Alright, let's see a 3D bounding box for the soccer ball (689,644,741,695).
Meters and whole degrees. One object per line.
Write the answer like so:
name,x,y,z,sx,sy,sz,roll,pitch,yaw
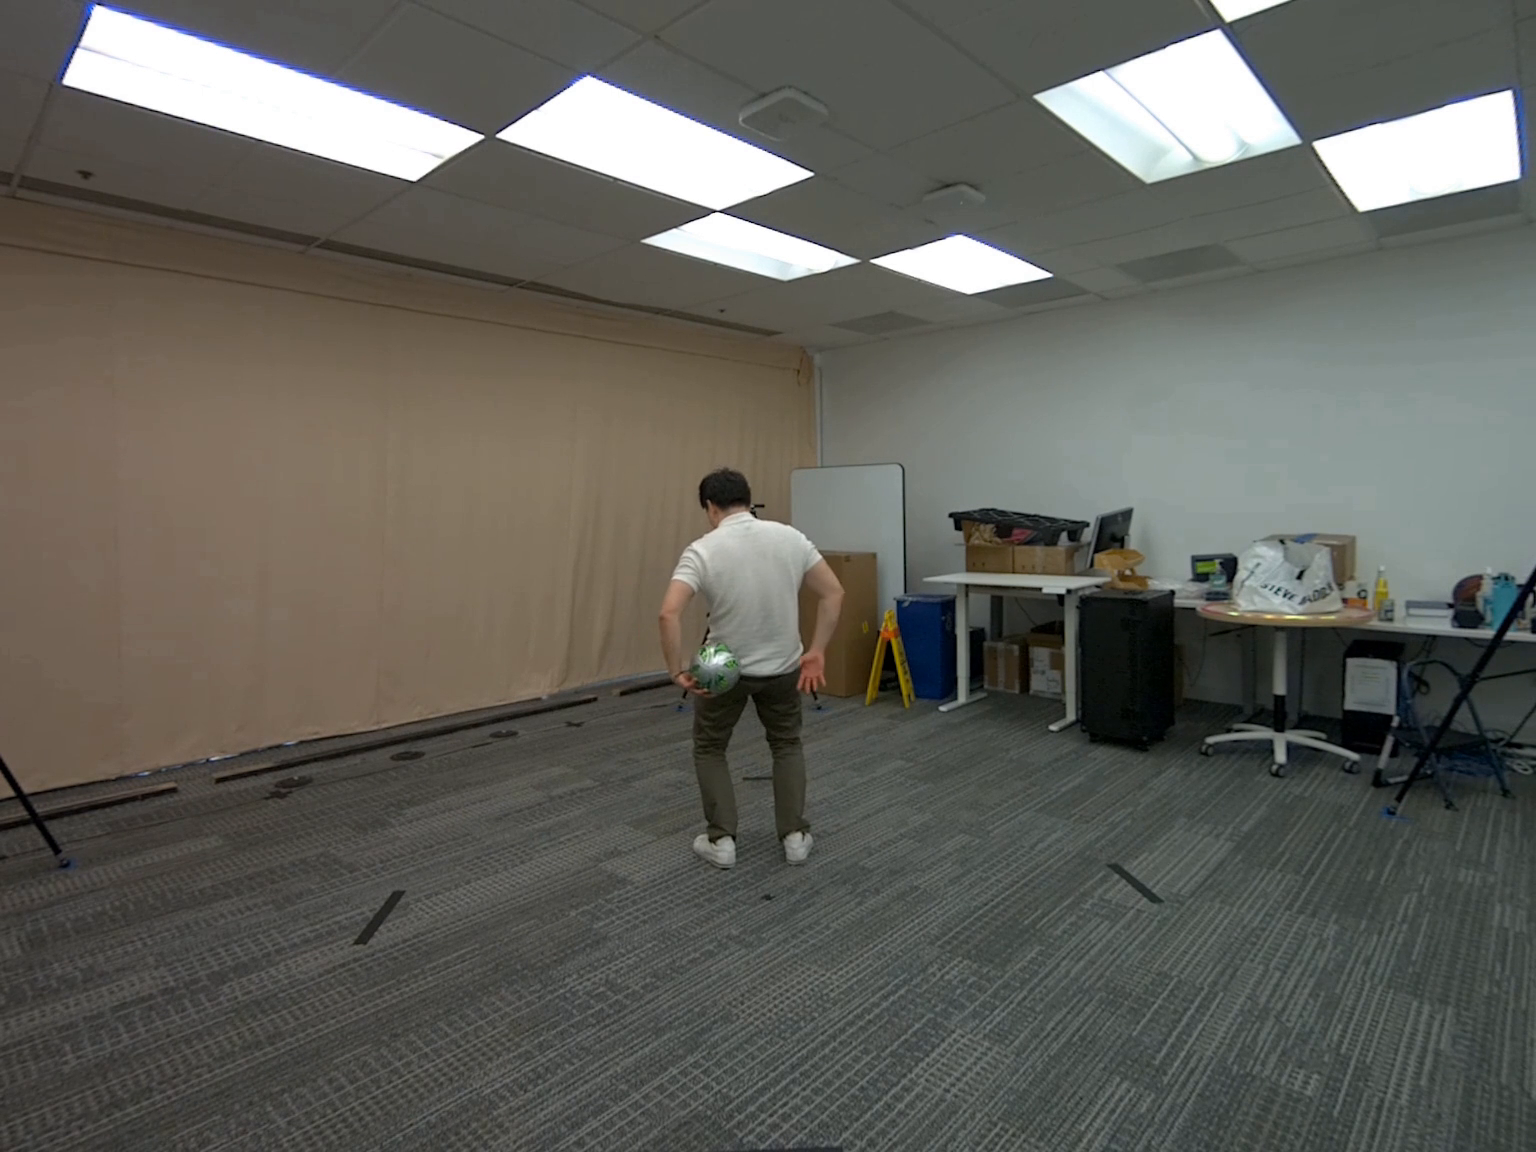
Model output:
soccer ball,-0.189,0.332,3.052,0.187,0.187,0.188,-1,4,-2
